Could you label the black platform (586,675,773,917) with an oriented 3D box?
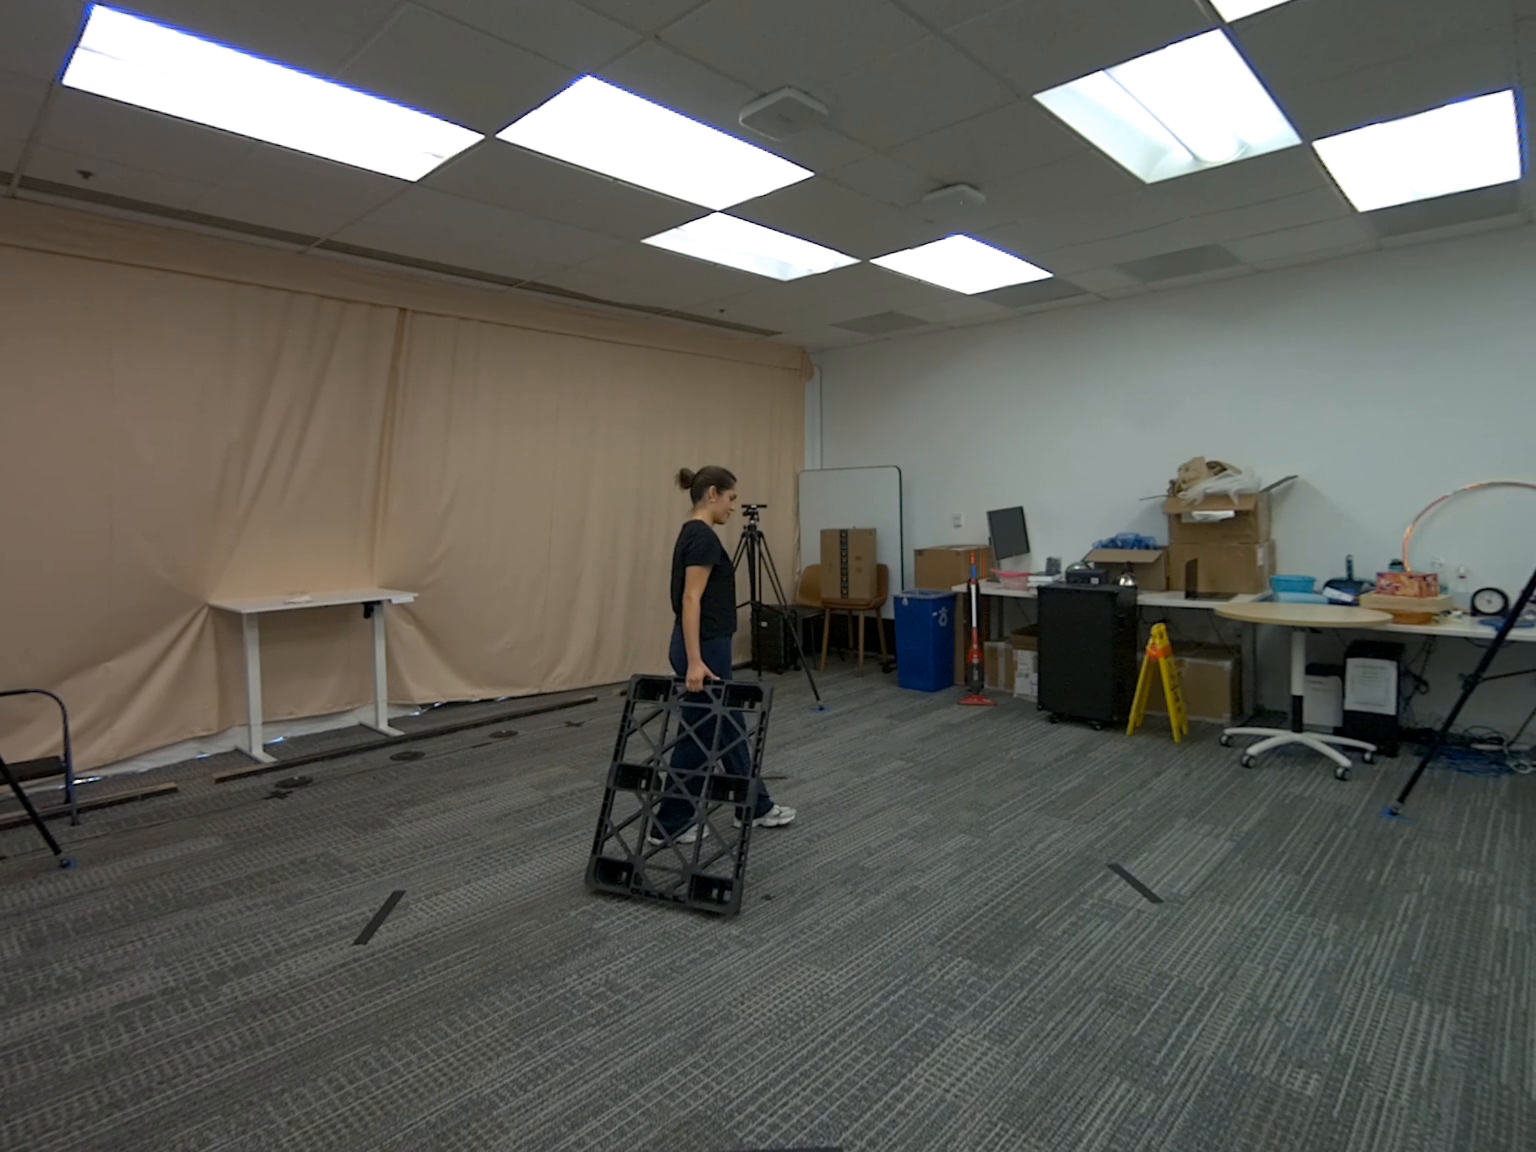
[{"bbox_3d":[-0.285,0.779,3.122,0.619,0.813,0.139,0,-24,22],"label":"black platform"}]
